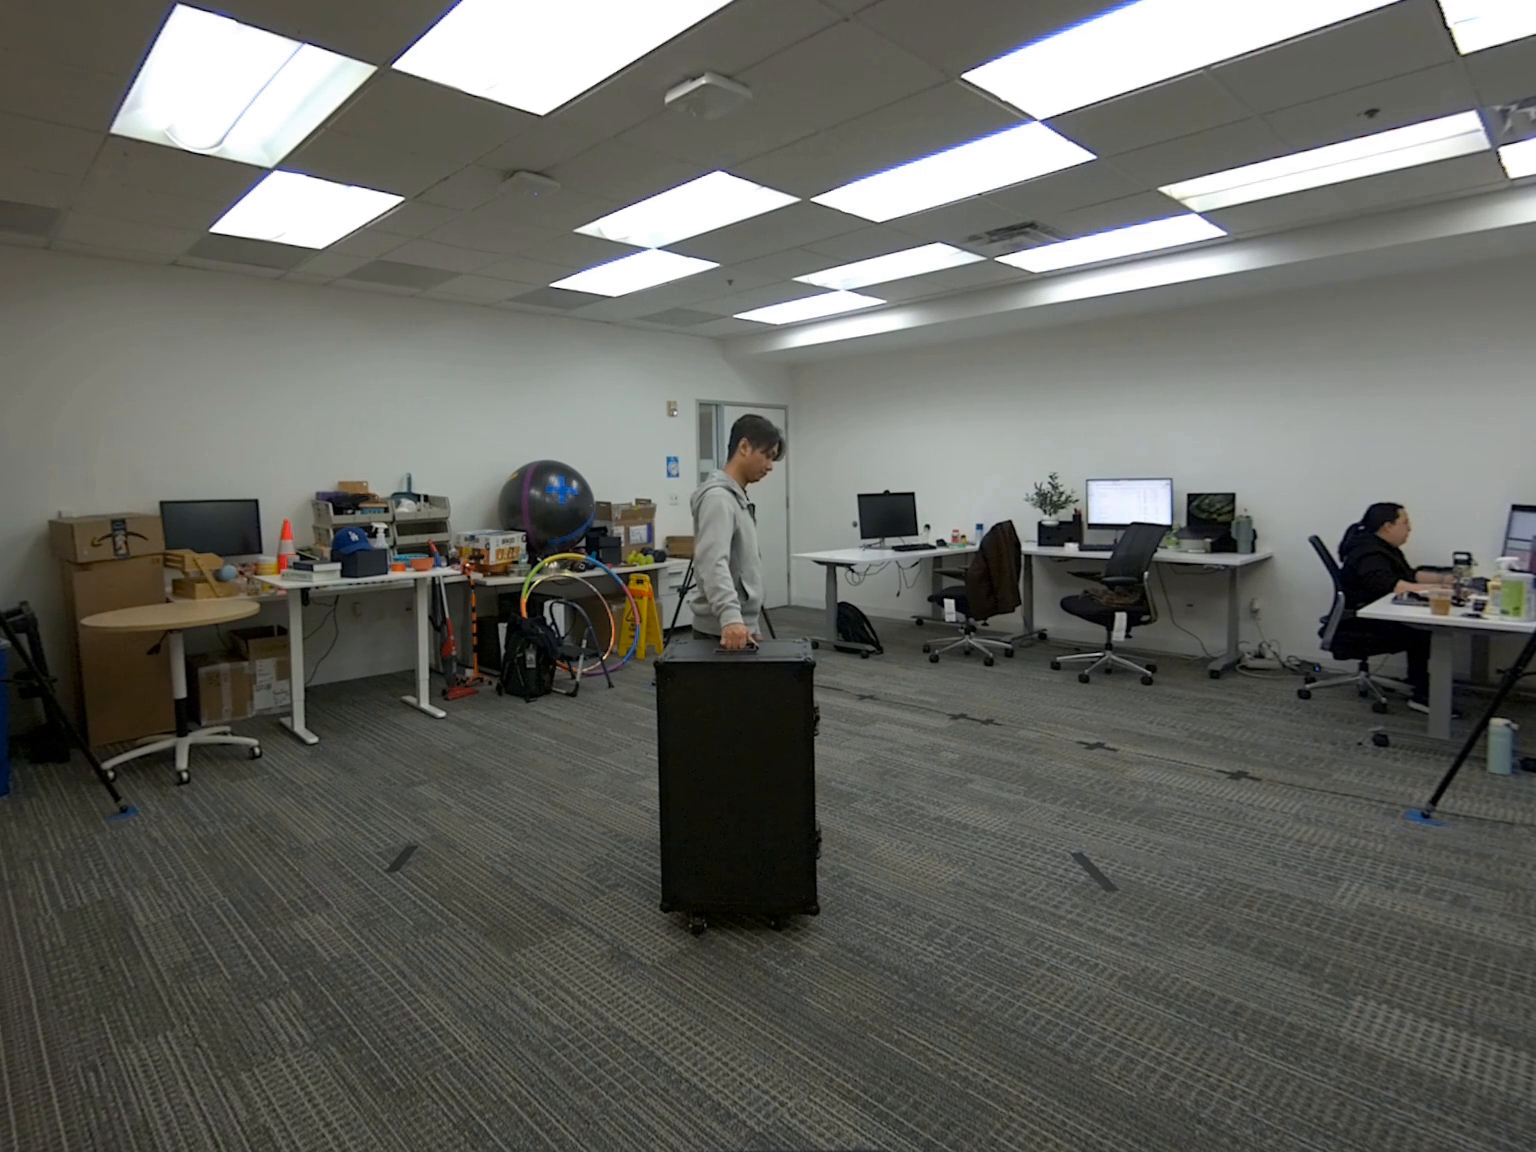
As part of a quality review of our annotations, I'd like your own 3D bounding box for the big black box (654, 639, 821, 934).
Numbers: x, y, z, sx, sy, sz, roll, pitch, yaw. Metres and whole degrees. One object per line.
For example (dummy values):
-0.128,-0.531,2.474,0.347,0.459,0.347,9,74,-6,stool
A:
-0.091,0.659,2.773,0.523,0.860,0.396,-2,2,3,big black box
